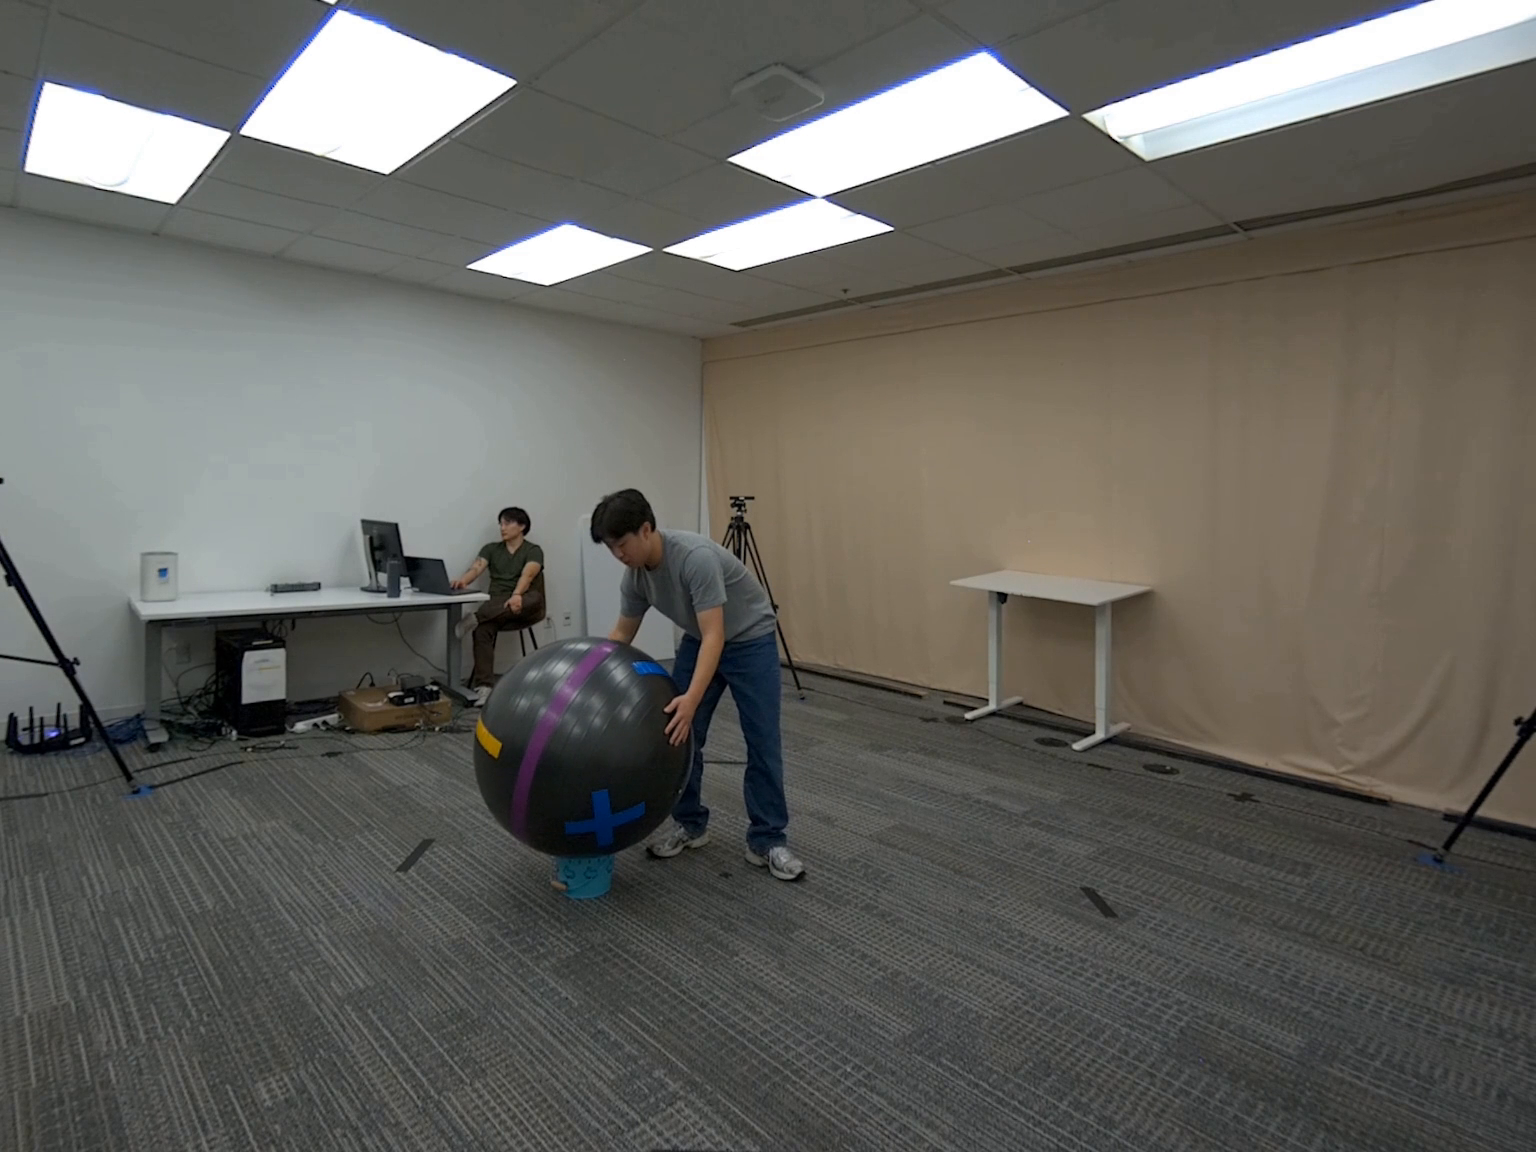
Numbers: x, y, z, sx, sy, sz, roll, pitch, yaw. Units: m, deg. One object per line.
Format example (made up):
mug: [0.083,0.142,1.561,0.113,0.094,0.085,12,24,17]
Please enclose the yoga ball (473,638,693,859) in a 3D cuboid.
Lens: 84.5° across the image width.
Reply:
yoga ball: [-0.655,0.601,2.954,0.757,0.756,0.761,1,4,-1]
